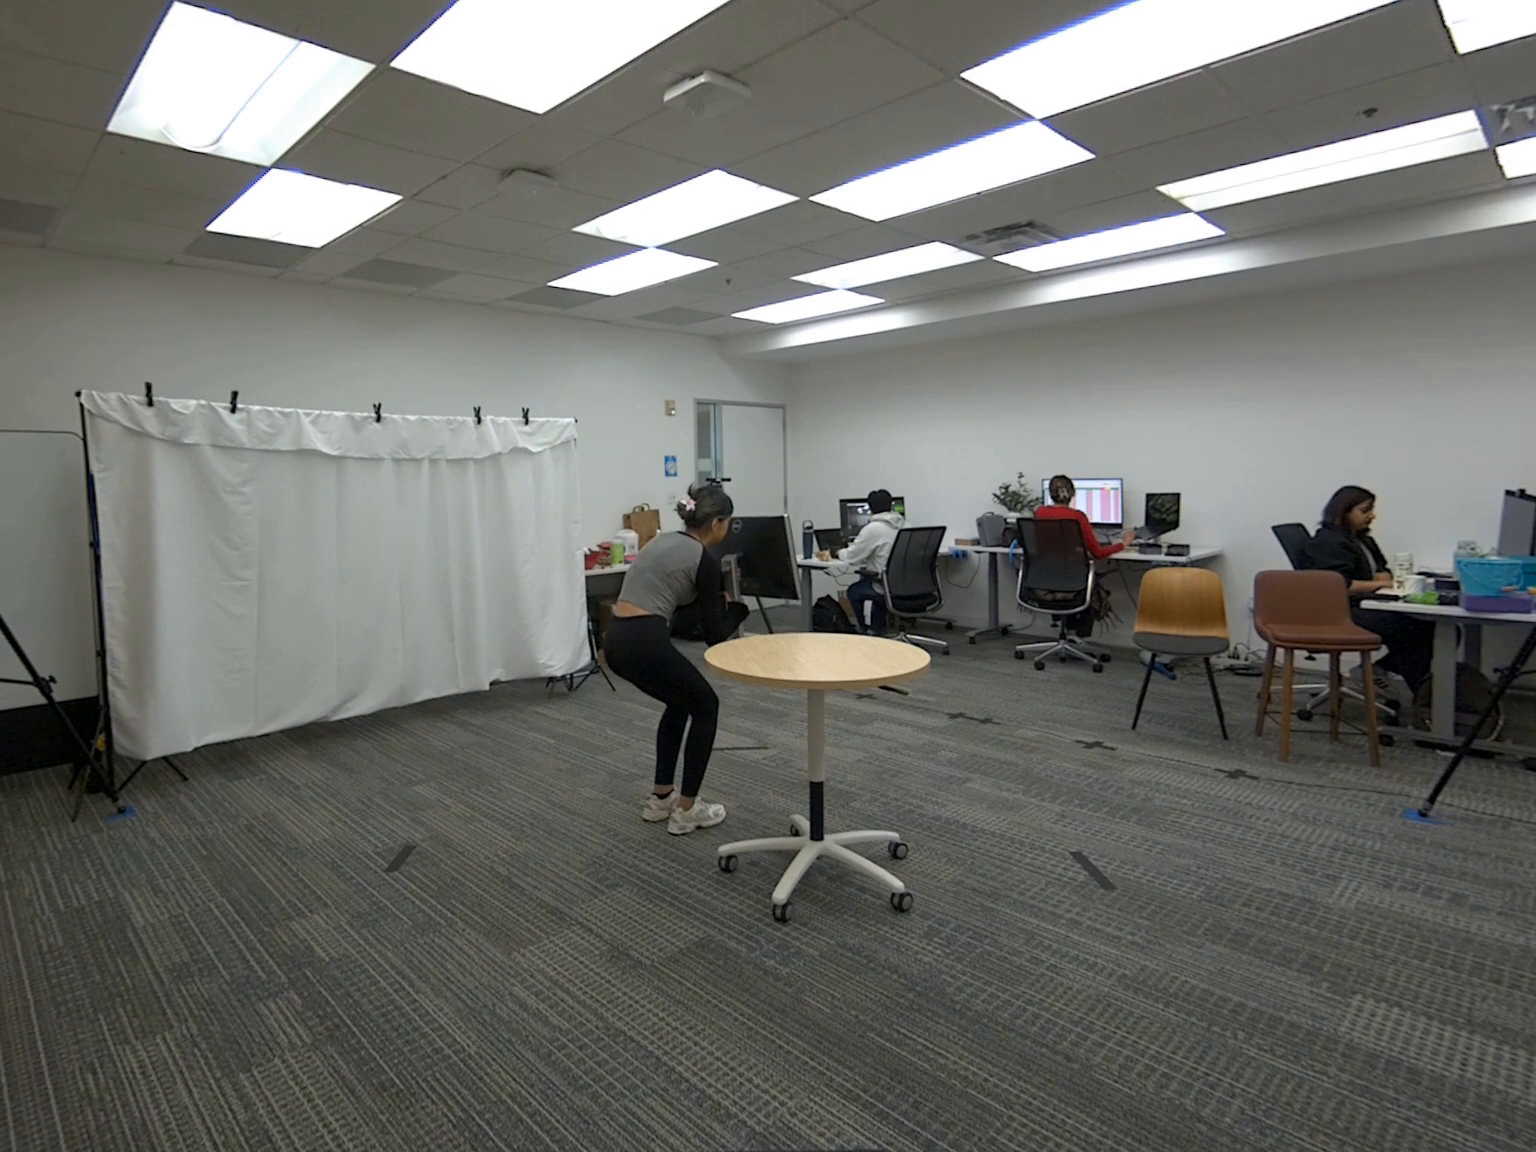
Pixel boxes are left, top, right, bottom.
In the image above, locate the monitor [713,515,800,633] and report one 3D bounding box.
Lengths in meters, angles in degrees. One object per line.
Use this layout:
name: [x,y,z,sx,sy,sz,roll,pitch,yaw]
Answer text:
monitor: [-0.111,0.010,3.682,0.182,0.522,0.555,-2,3,-44]
